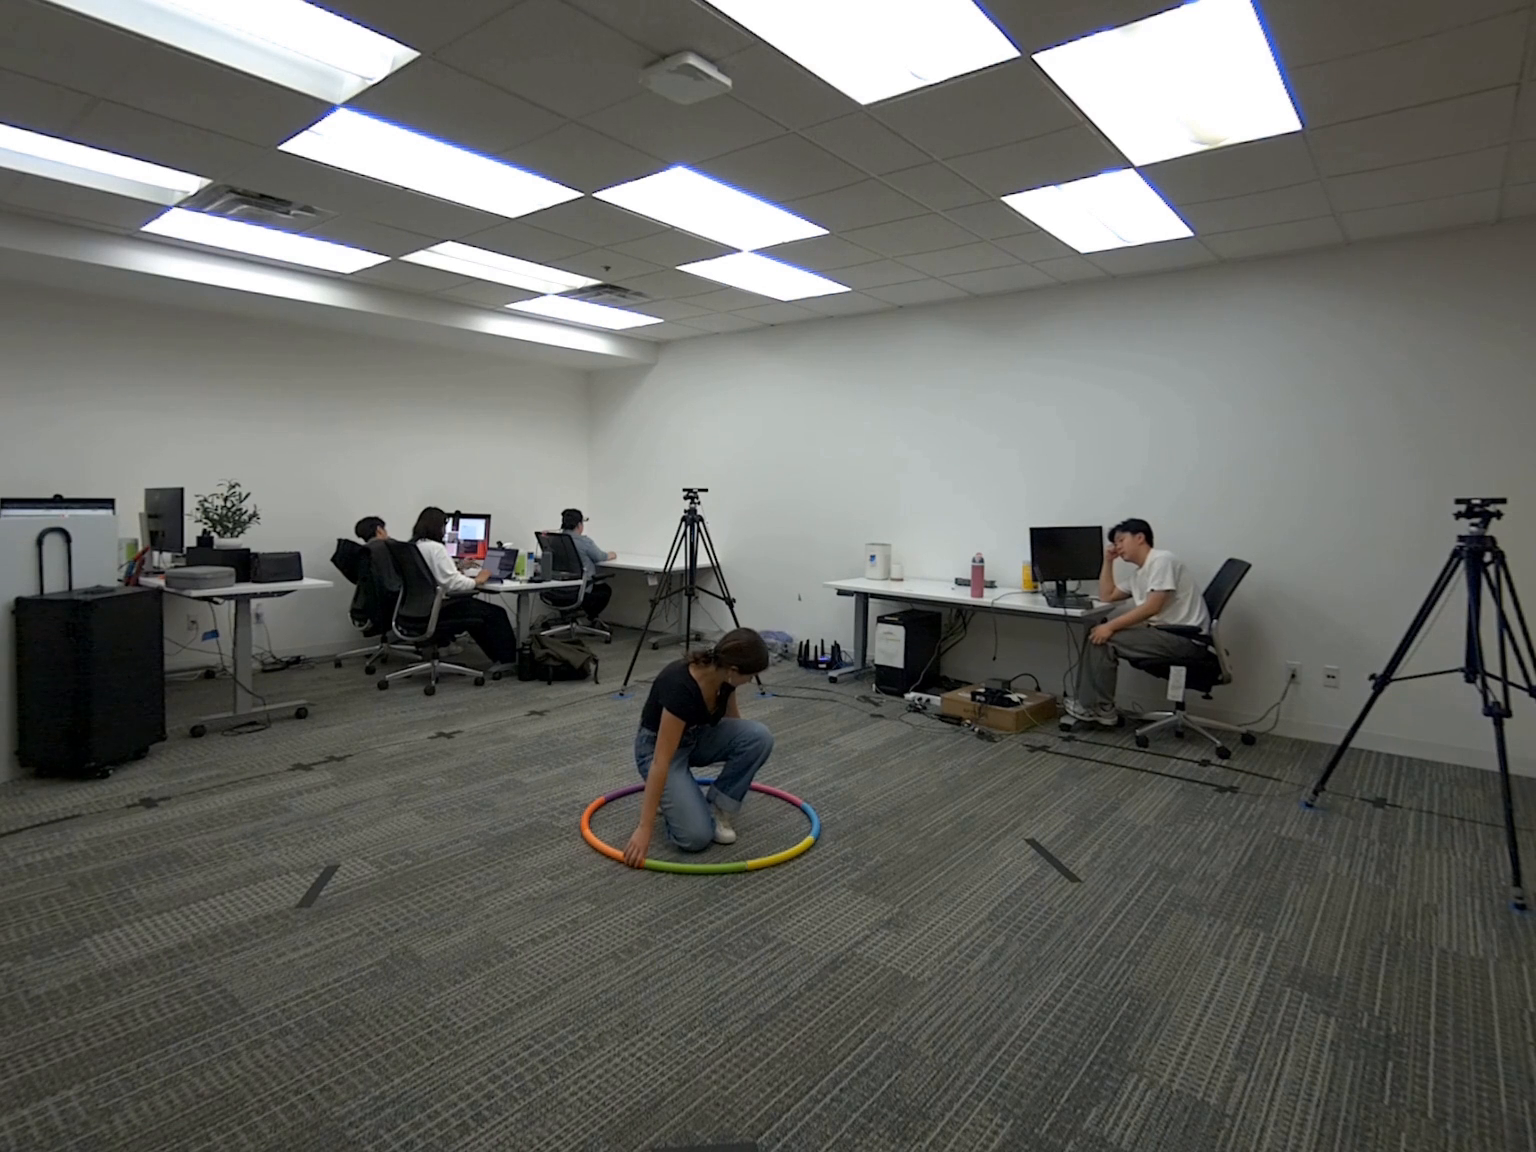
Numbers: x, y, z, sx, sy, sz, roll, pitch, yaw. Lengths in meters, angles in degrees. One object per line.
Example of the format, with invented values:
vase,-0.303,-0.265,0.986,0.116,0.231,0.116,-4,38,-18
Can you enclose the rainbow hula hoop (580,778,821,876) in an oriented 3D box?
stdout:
rainbow hula hoop,-0.280,0.989,3.540,0.978,0.035,0.984,1,6,-2
